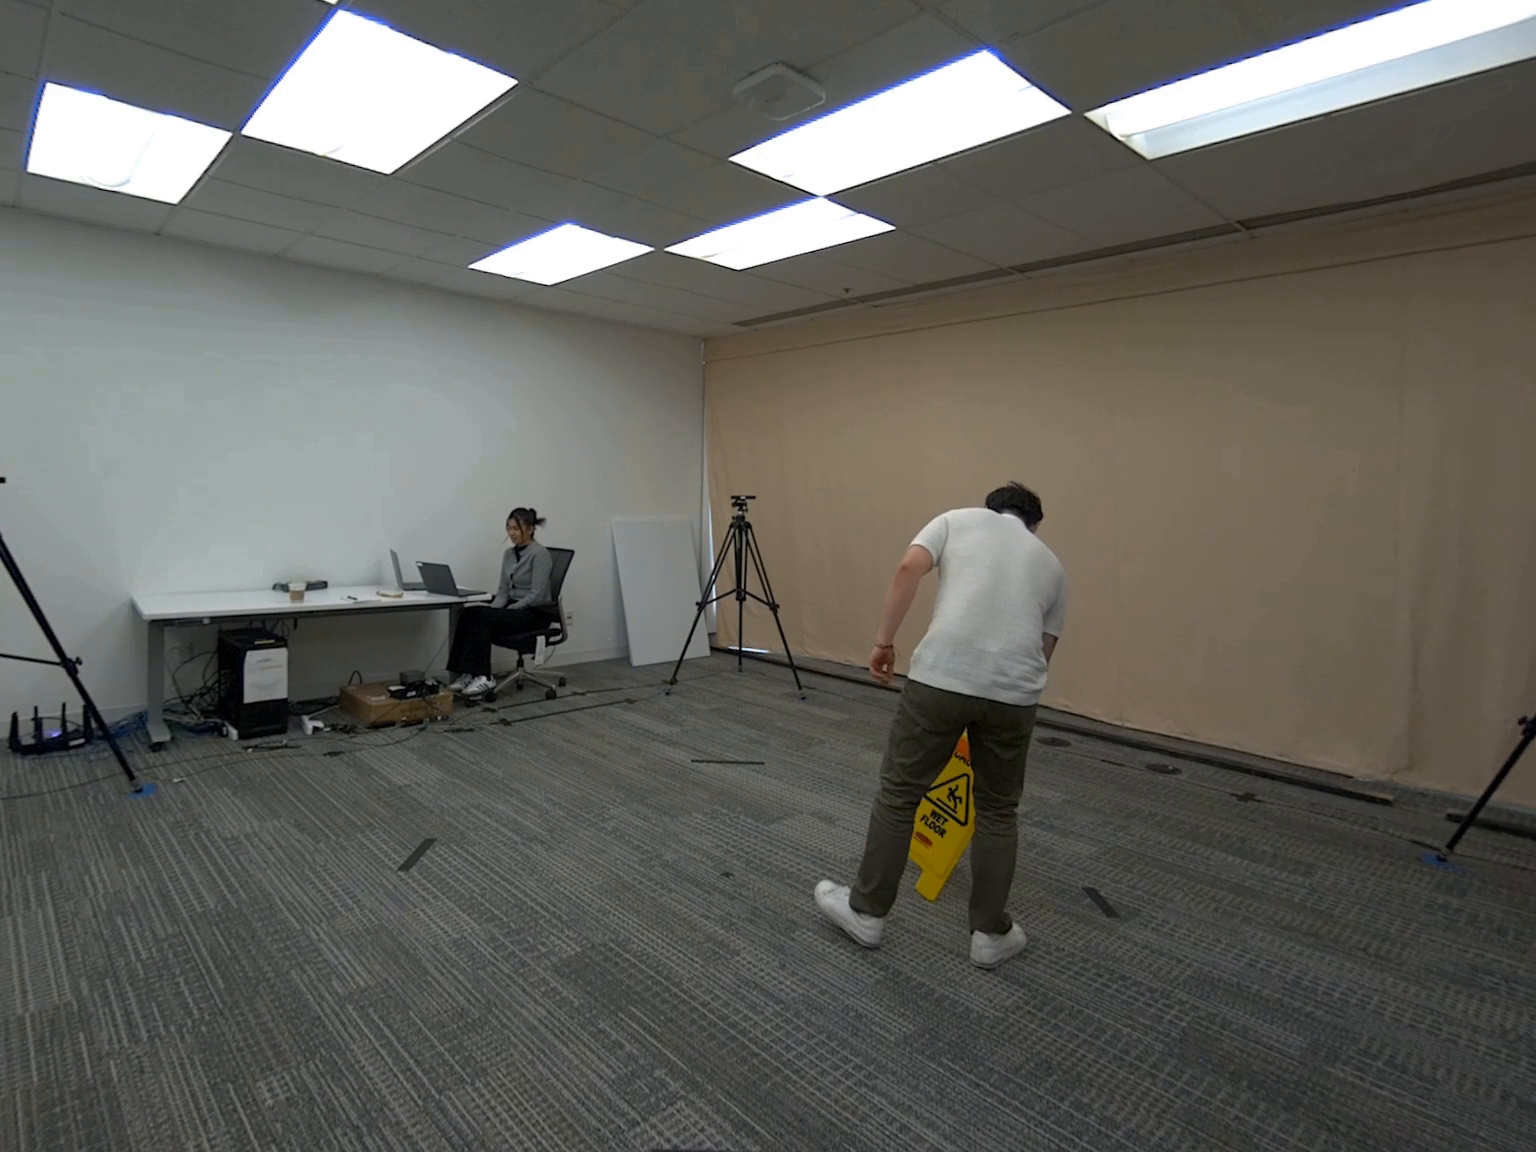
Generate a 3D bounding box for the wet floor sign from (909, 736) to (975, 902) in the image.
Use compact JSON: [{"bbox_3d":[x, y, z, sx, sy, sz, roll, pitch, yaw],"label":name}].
[{"bbox_3d":[0.668,0.787,3.040,0.288,0.643,0.284,34,15,21],"label":"wet floor sign"}]
